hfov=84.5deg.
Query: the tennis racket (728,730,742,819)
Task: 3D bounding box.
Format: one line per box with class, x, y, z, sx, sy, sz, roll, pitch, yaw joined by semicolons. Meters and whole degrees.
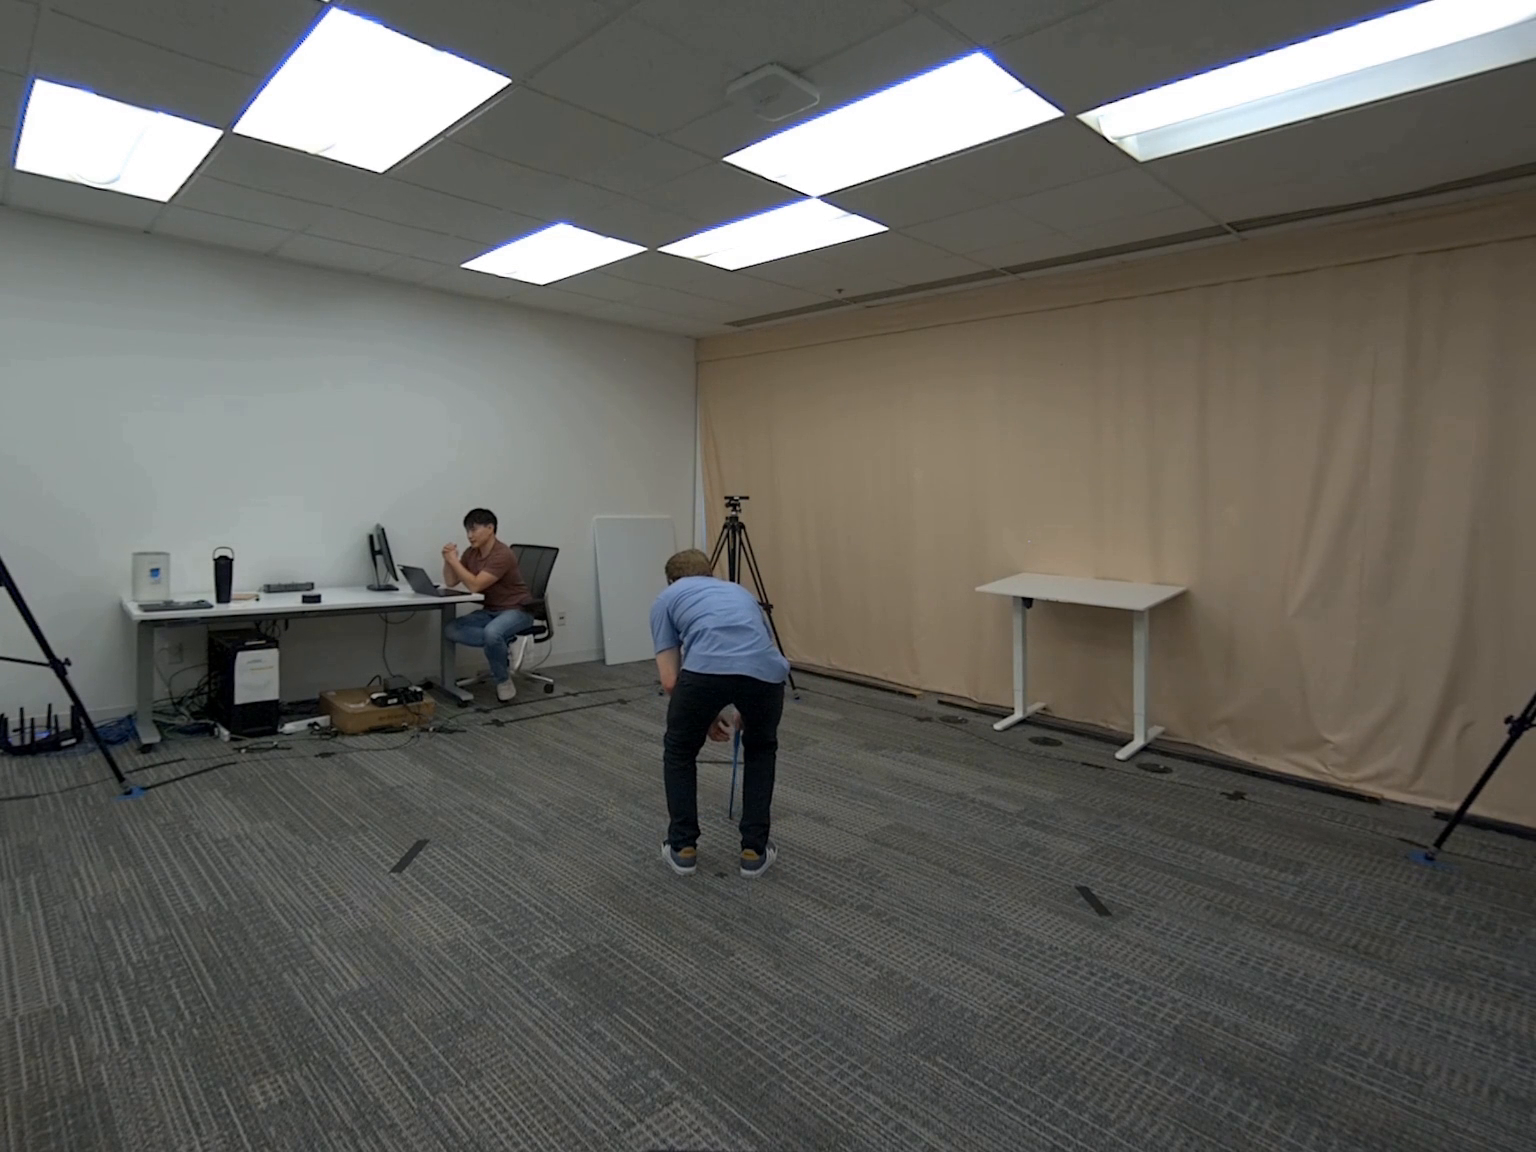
tennis racket;-0.154;0.840;3.655;0.032;0.430;0.214;6;8;1
